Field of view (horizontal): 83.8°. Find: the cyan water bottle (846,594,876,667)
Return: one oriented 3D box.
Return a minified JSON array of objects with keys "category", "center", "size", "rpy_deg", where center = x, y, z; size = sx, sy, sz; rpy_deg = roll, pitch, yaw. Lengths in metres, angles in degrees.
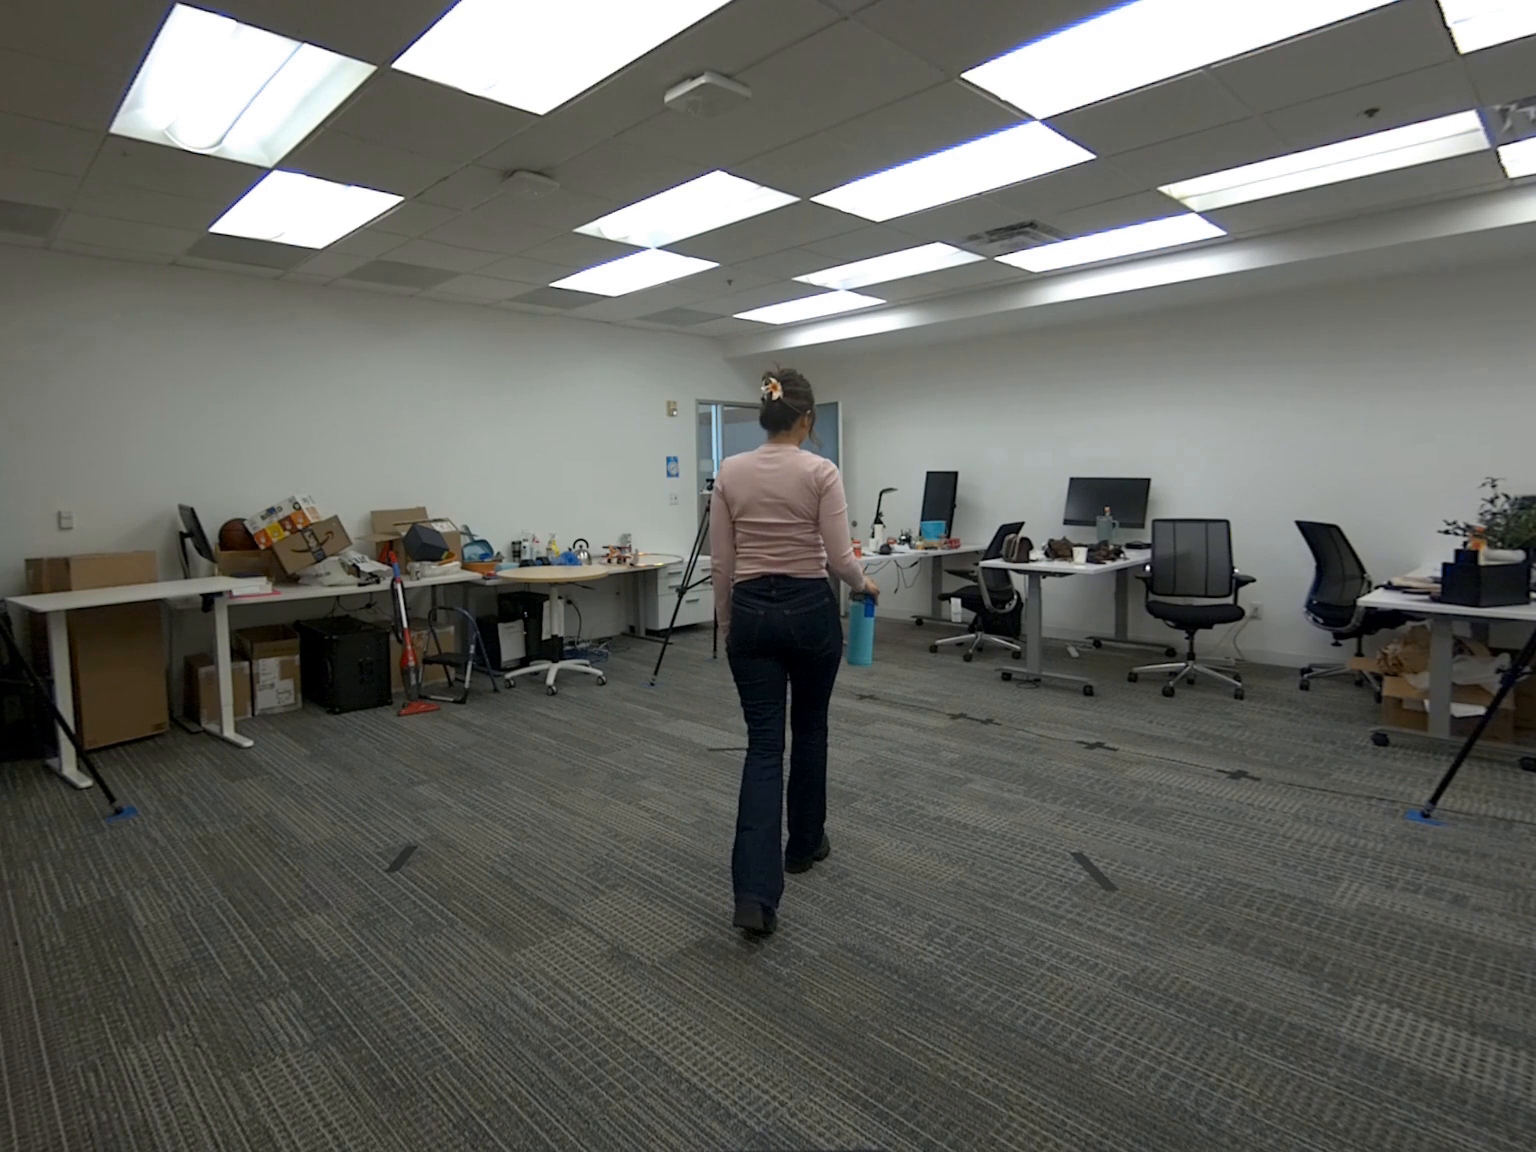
[{"category":"cyan water bottle","center":[0.339,0.174,3.049],"size":[0.092,0.283,0.092],"rpy_deg":[3,0,-2]}]
